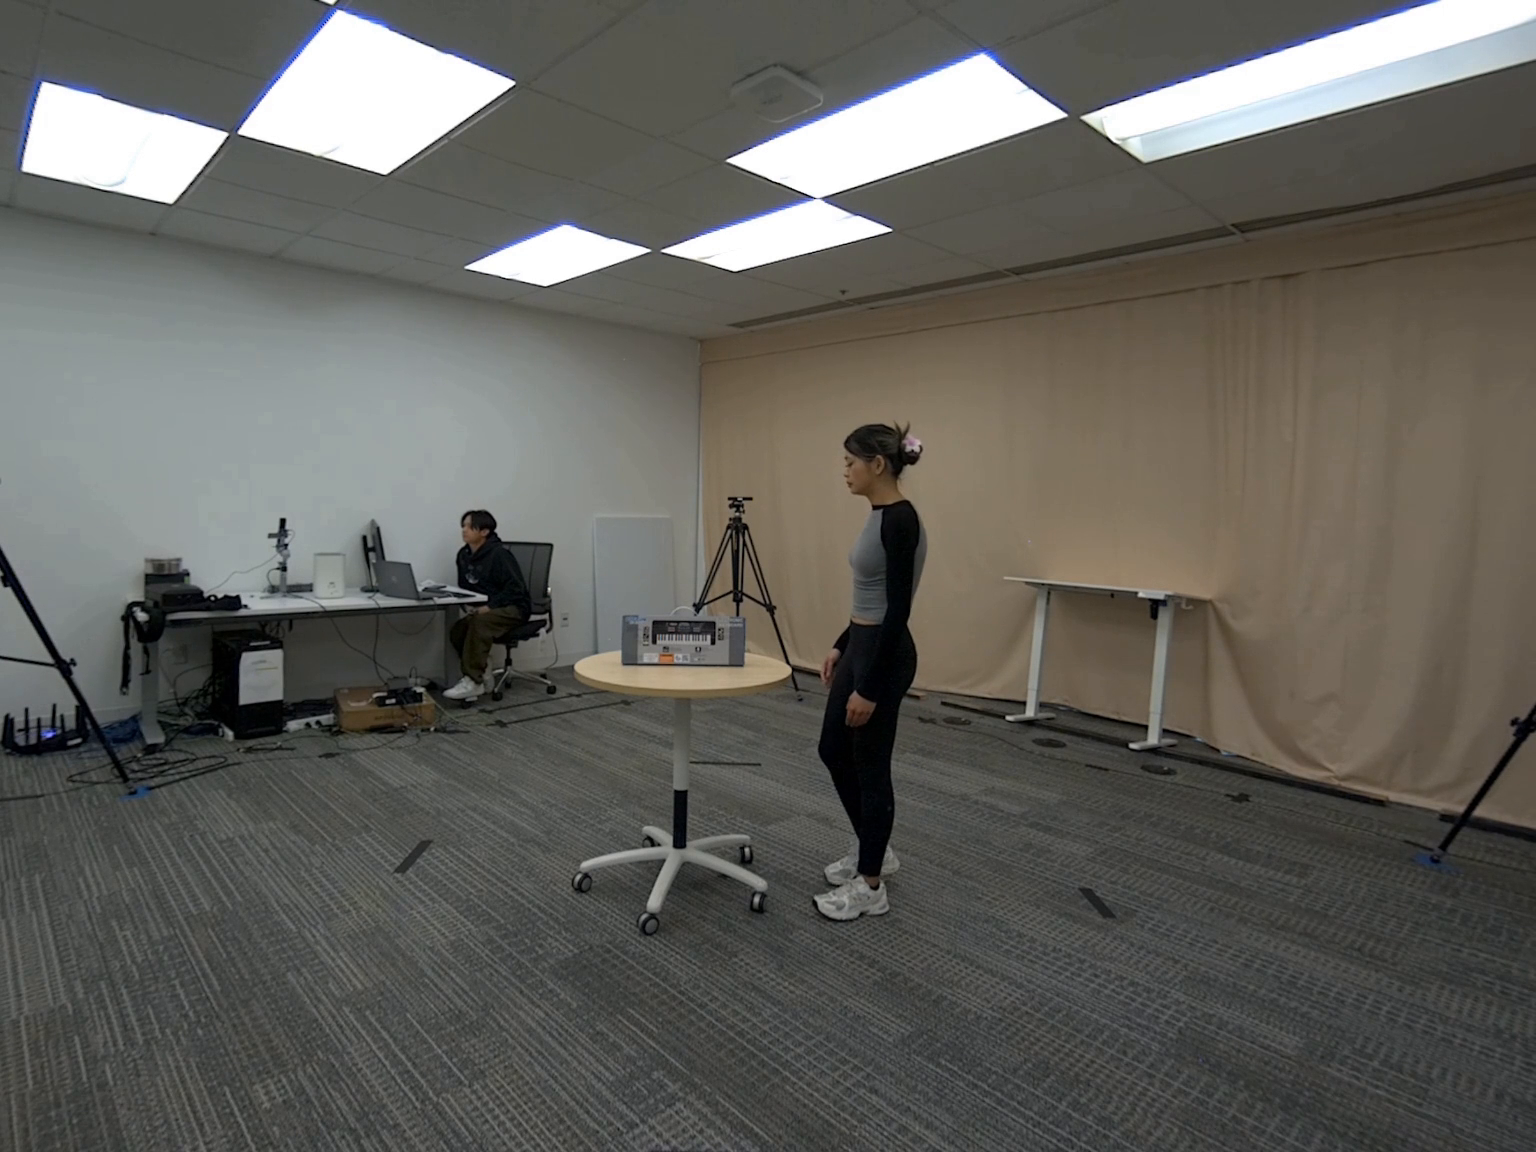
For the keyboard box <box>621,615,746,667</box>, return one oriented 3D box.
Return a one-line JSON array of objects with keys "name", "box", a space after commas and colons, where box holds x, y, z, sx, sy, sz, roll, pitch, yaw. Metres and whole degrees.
[{"name": "keyboard box", "box": [-0.306, 0.229, 3.017, 0.435, 0.176, 0.059, 1, -1, -4]}]
